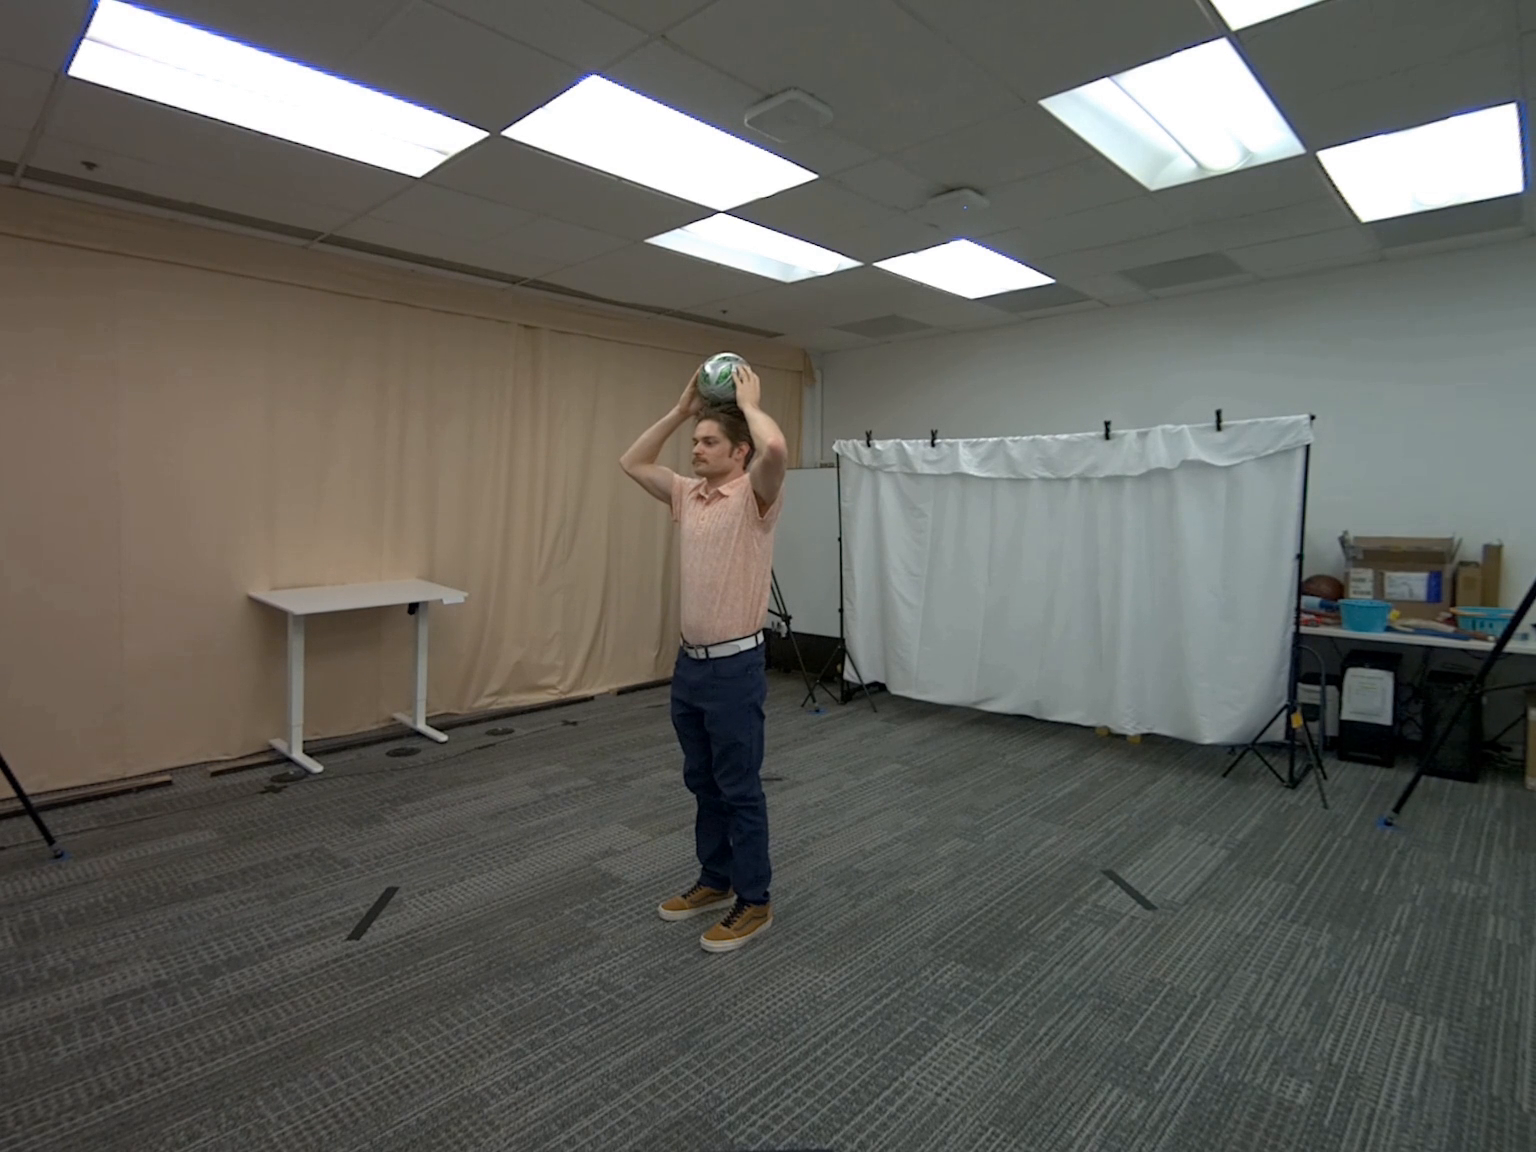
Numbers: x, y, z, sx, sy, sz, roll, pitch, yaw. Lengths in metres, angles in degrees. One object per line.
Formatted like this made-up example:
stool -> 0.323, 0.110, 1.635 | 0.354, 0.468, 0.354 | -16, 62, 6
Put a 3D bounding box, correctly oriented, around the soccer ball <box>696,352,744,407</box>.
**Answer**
soccer ball -> -0.131, -0.632, 2.770 | 0.187, 0.187, 0.188 | 0, 4, -2
